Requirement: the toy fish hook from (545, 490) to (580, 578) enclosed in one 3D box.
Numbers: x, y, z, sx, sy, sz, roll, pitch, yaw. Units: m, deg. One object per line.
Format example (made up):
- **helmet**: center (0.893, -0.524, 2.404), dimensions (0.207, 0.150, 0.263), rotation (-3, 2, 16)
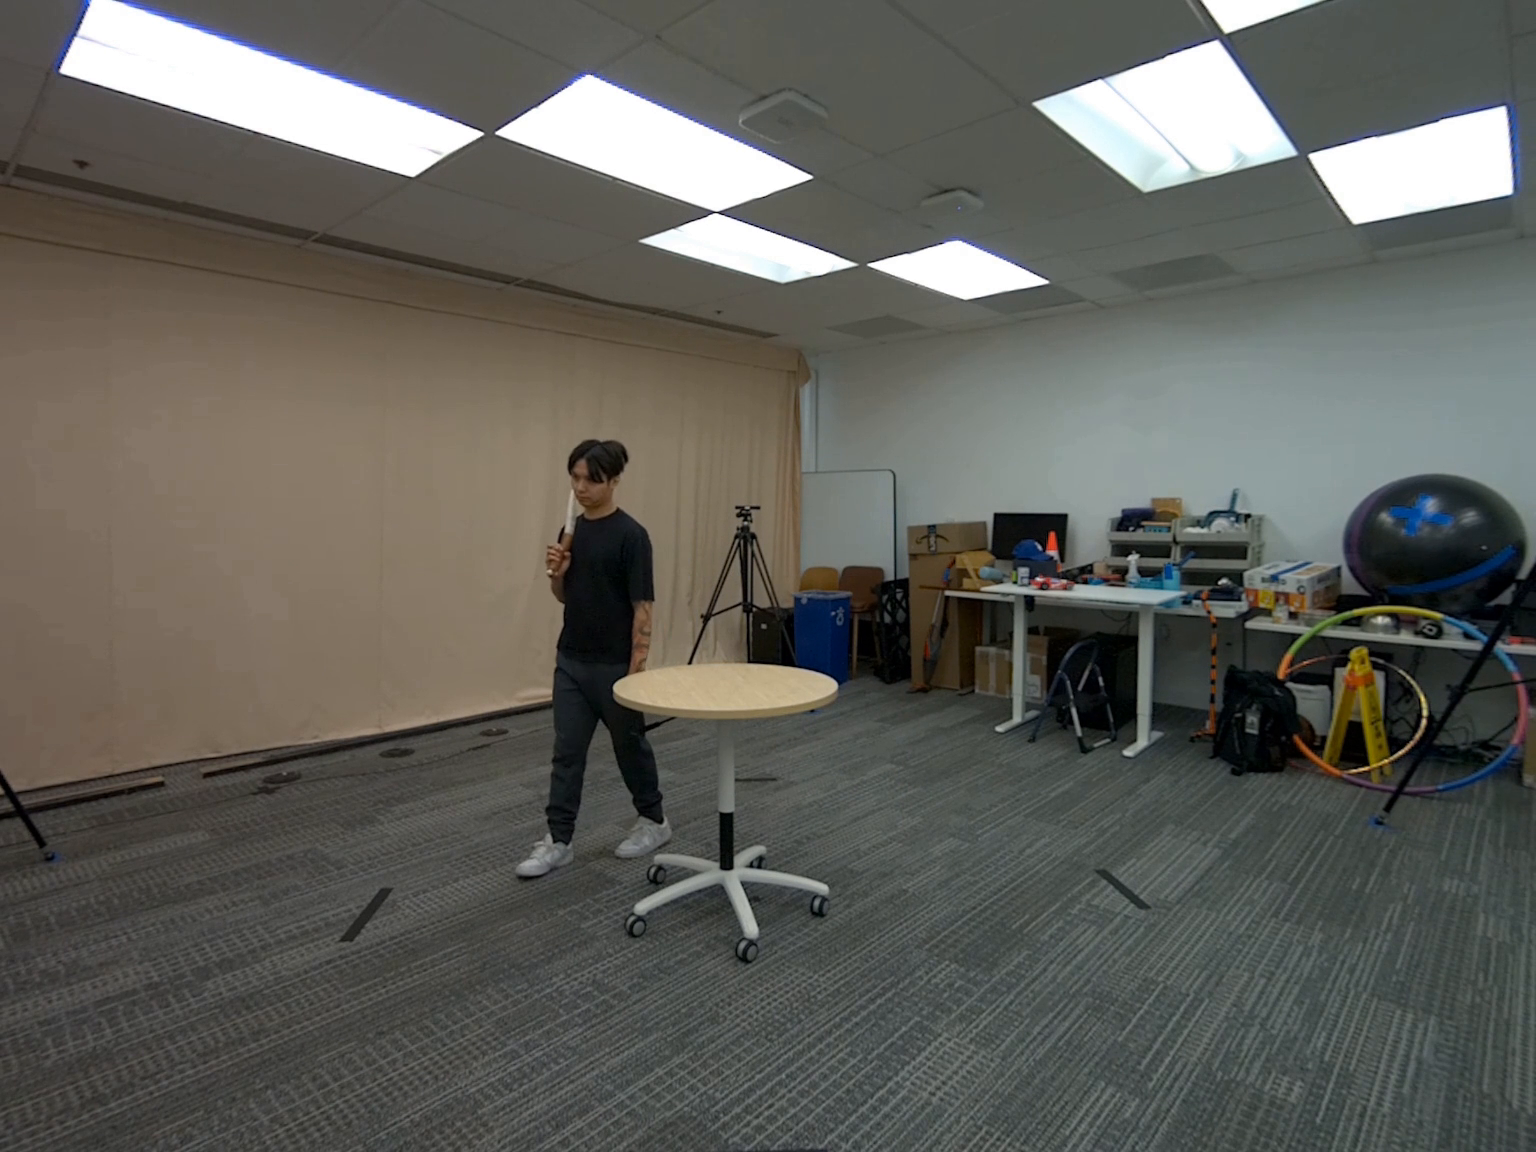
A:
- **toy fish hook**: center (-0.741, -0.177, 3.342), dimensions (0.049, 0.510, 0.217), rotation (-19, -45, 43)
